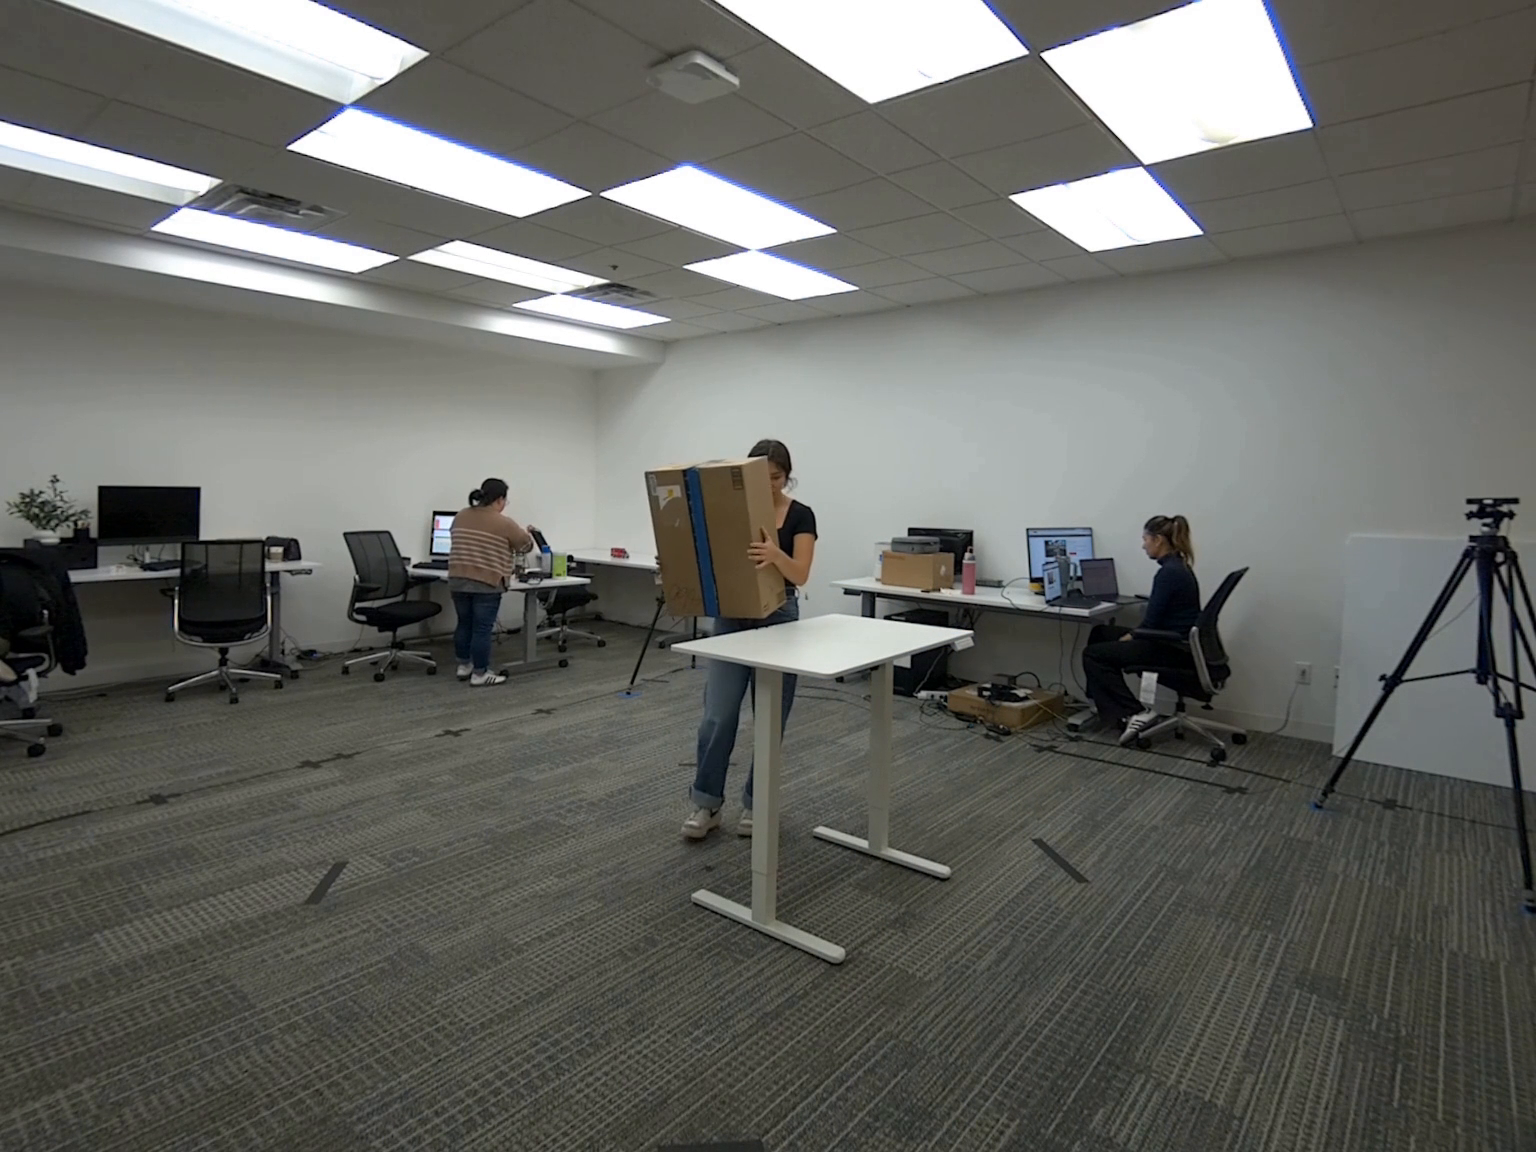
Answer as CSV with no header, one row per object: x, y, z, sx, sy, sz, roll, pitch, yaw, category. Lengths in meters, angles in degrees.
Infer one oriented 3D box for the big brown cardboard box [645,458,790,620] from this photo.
-0.206,-0.152,3.210,0.428,0.582,0.230,-2,13,28,big brown cardboard box
